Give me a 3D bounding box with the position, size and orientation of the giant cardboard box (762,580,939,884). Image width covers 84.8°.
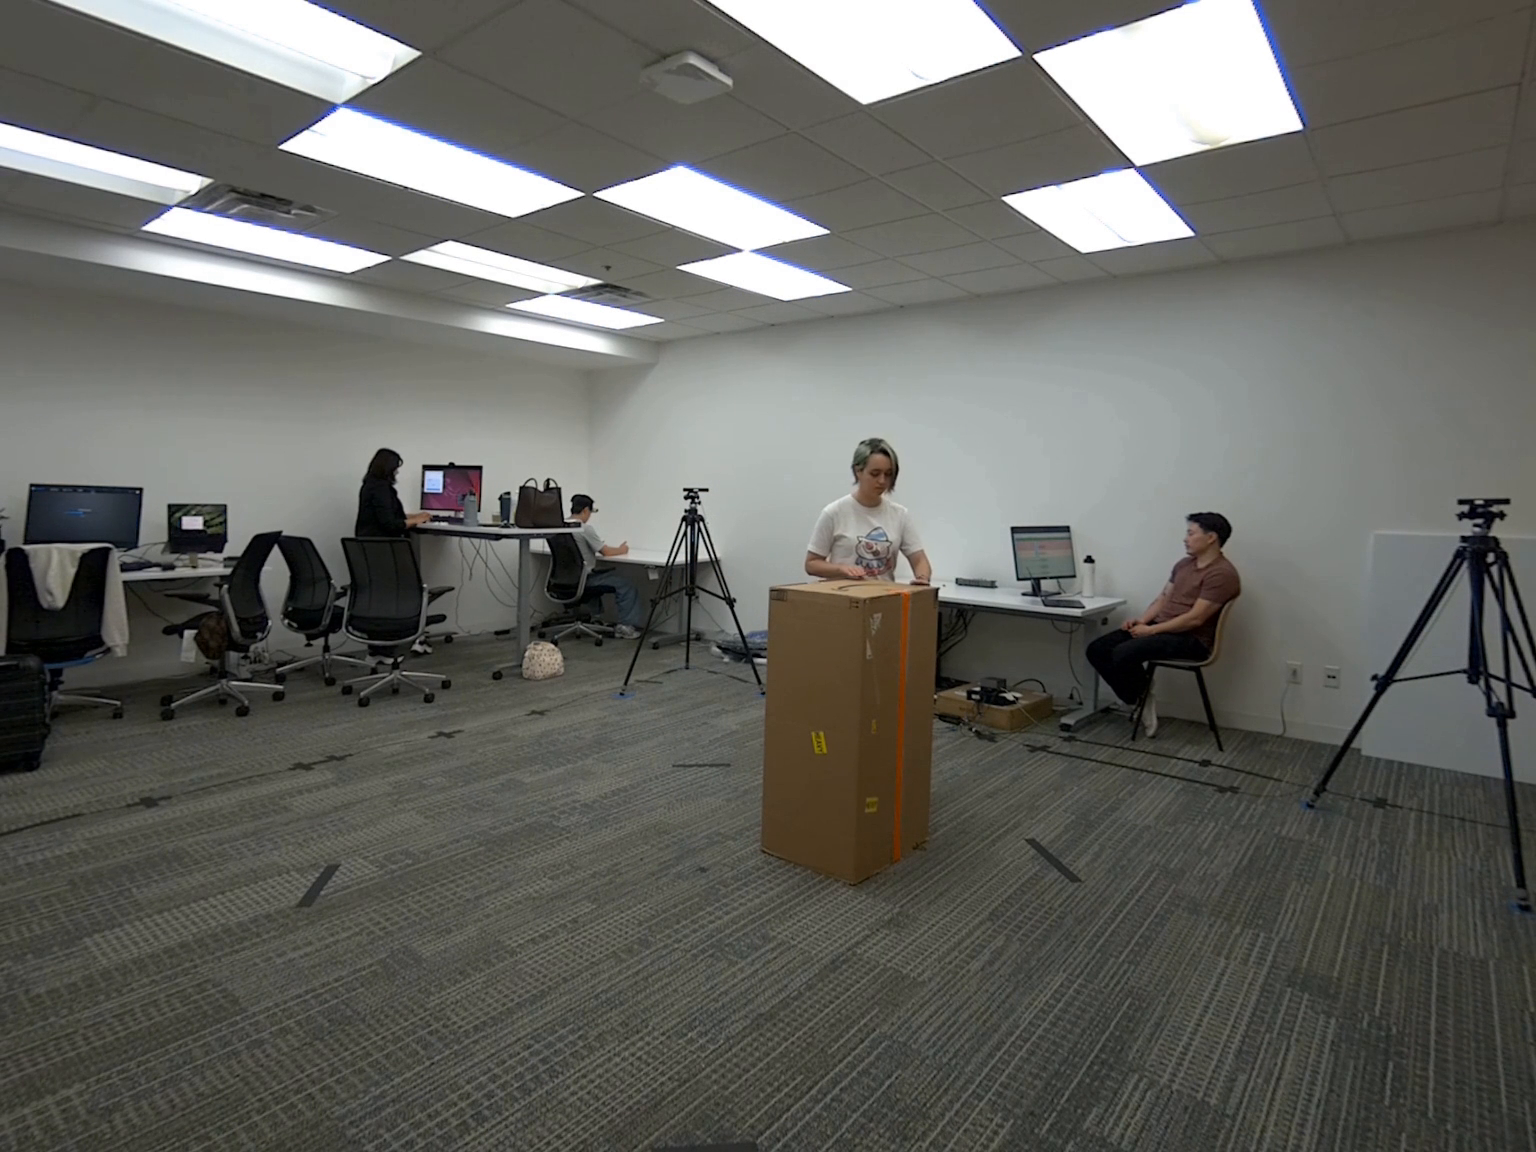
[{"bbox_3d":[0.320,0.553,3.326,0.461,1.025,0.566,3,3,38],"label":"giant cardboard box"}]
